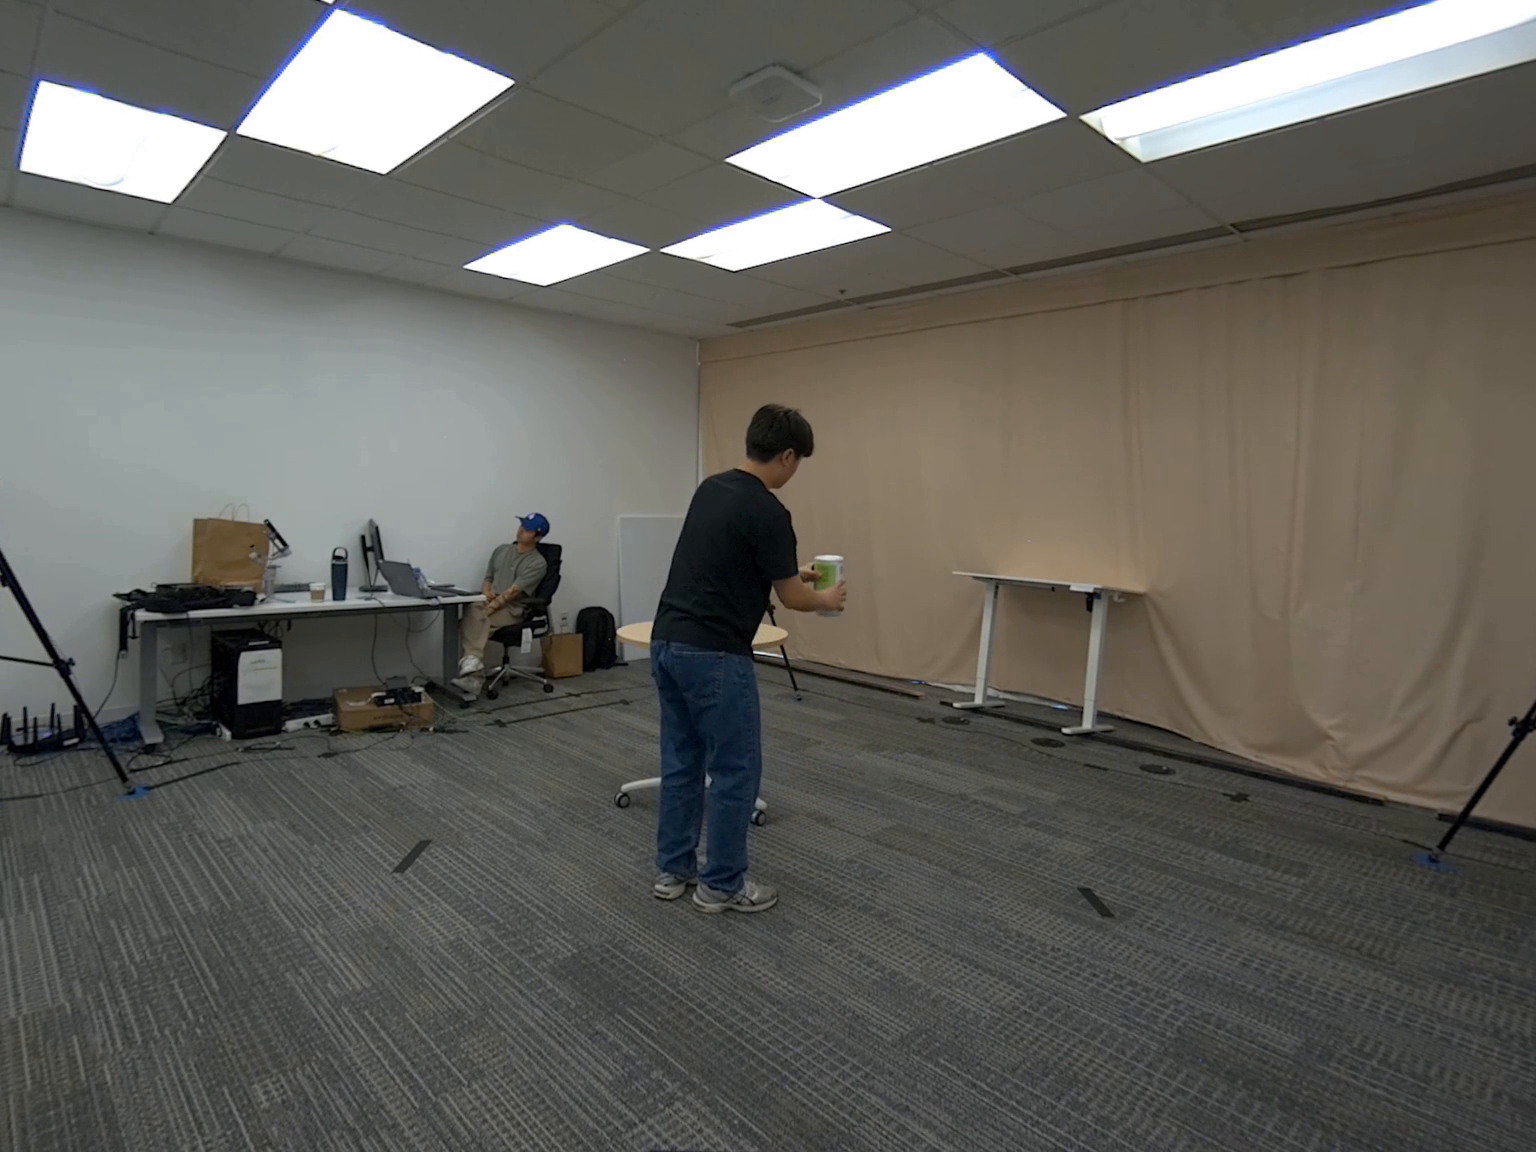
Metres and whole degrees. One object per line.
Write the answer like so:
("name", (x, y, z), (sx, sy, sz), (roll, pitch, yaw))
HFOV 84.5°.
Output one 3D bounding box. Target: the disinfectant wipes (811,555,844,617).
("disinfectant wipes", (0.221, 0.038, 3.116), (0.118, 0.216, 0.118), (0, 8, -1))
